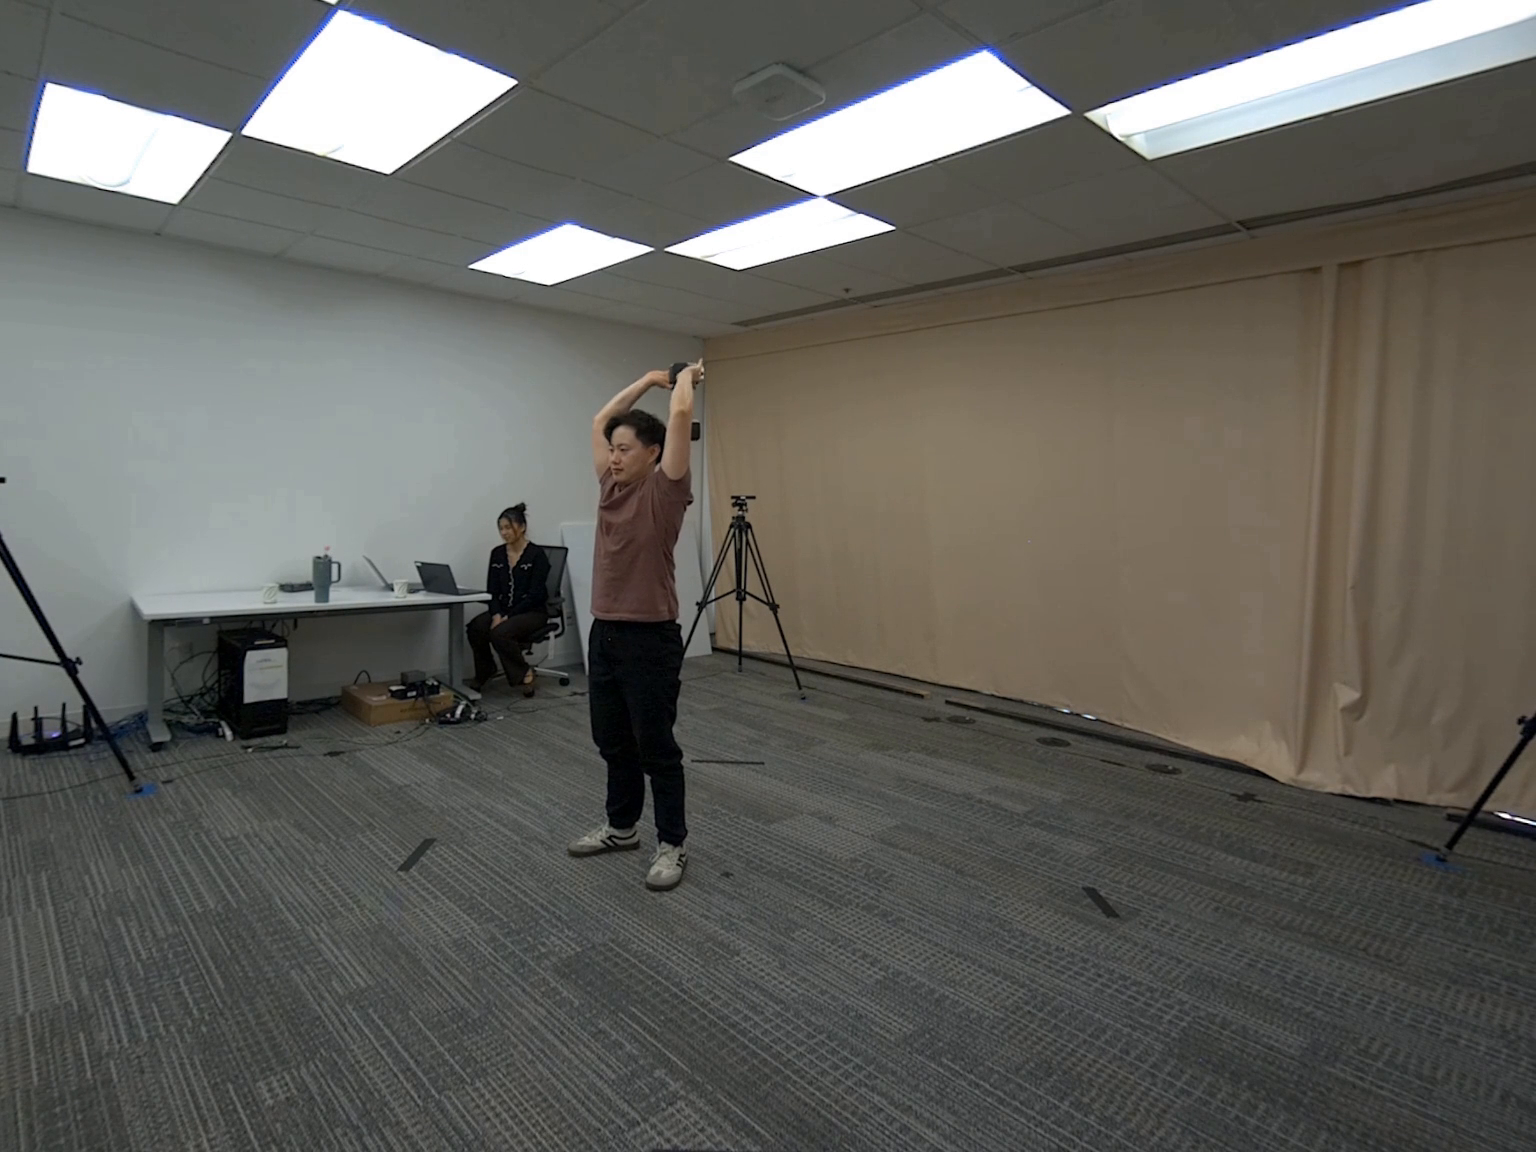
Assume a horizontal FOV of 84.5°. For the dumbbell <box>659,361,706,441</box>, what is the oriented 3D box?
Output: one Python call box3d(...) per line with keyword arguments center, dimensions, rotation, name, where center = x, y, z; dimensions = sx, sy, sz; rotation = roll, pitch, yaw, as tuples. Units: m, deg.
box3d(center=(-0.325, -0.663, 3.214), dimensions=(0.120, 0.292, 0.111), rotation=(-10, 12, -43), name="dumbbell")
